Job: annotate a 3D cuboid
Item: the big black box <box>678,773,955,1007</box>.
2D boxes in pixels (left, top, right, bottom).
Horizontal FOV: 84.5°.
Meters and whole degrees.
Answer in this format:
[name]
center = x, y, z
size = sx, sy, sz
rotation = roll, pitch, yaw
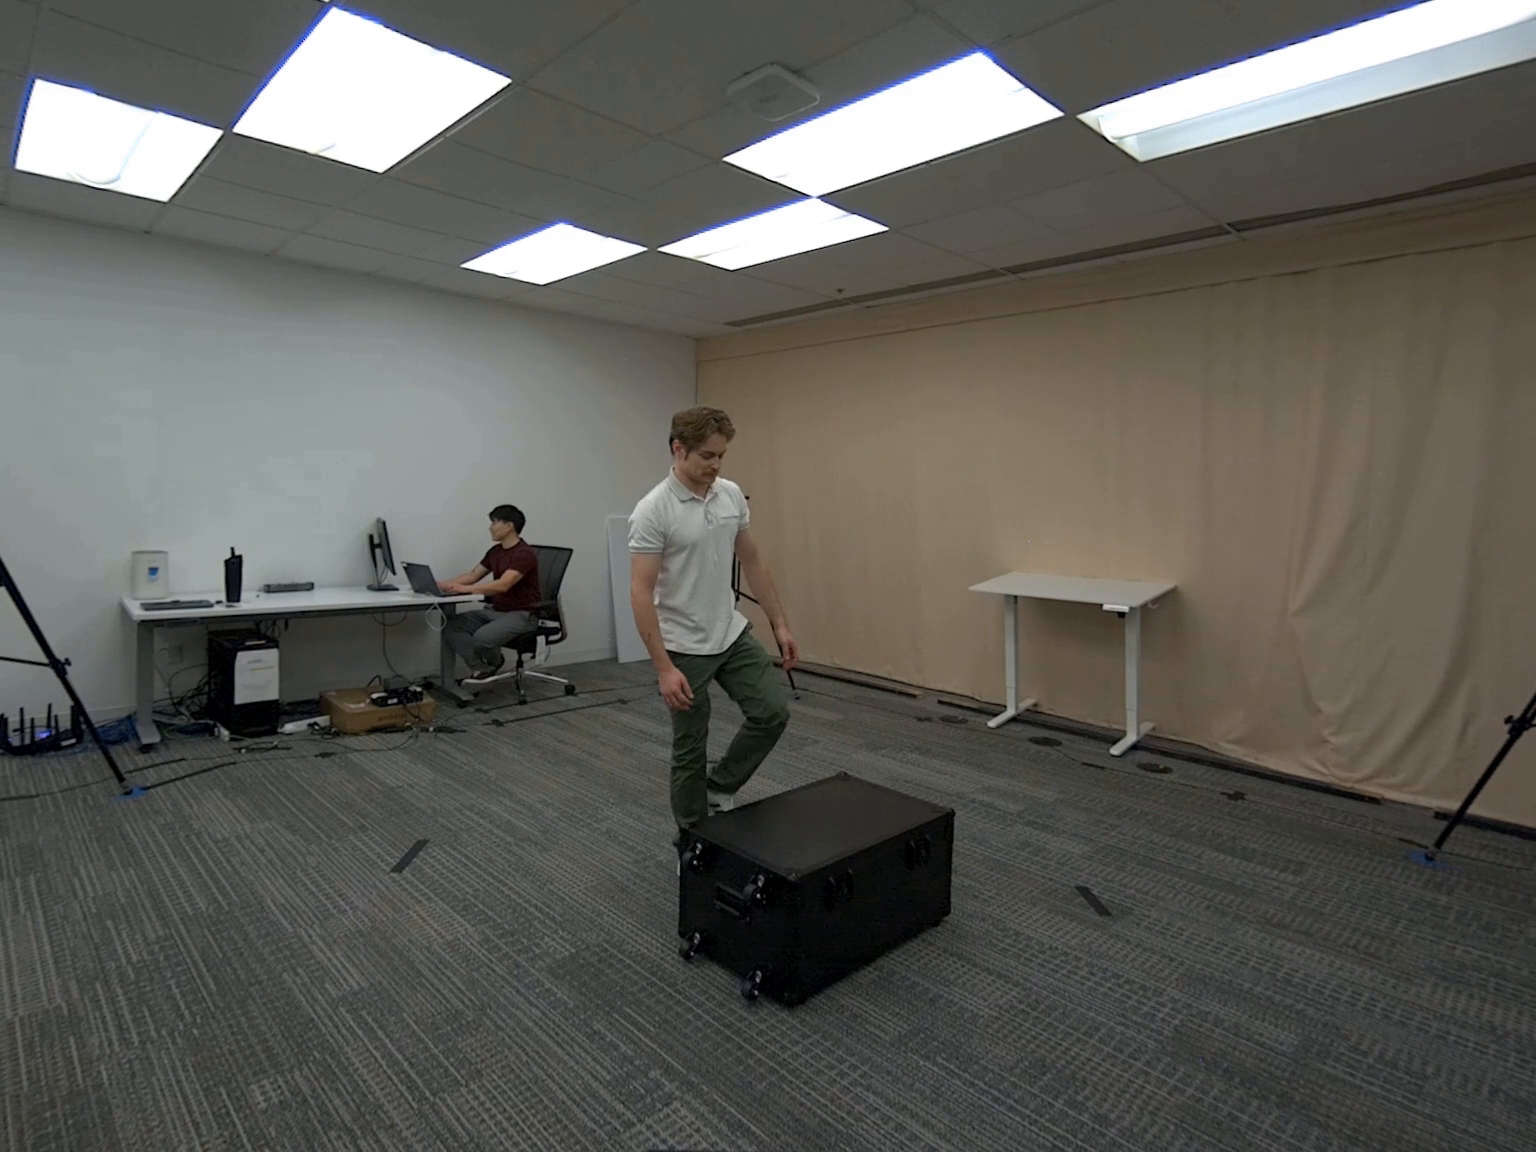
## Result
[big black box]
center = 0.134, 0.955, 2.679
size = 0.849, 0.384, 0.537
rotation = -4, 9, -44
